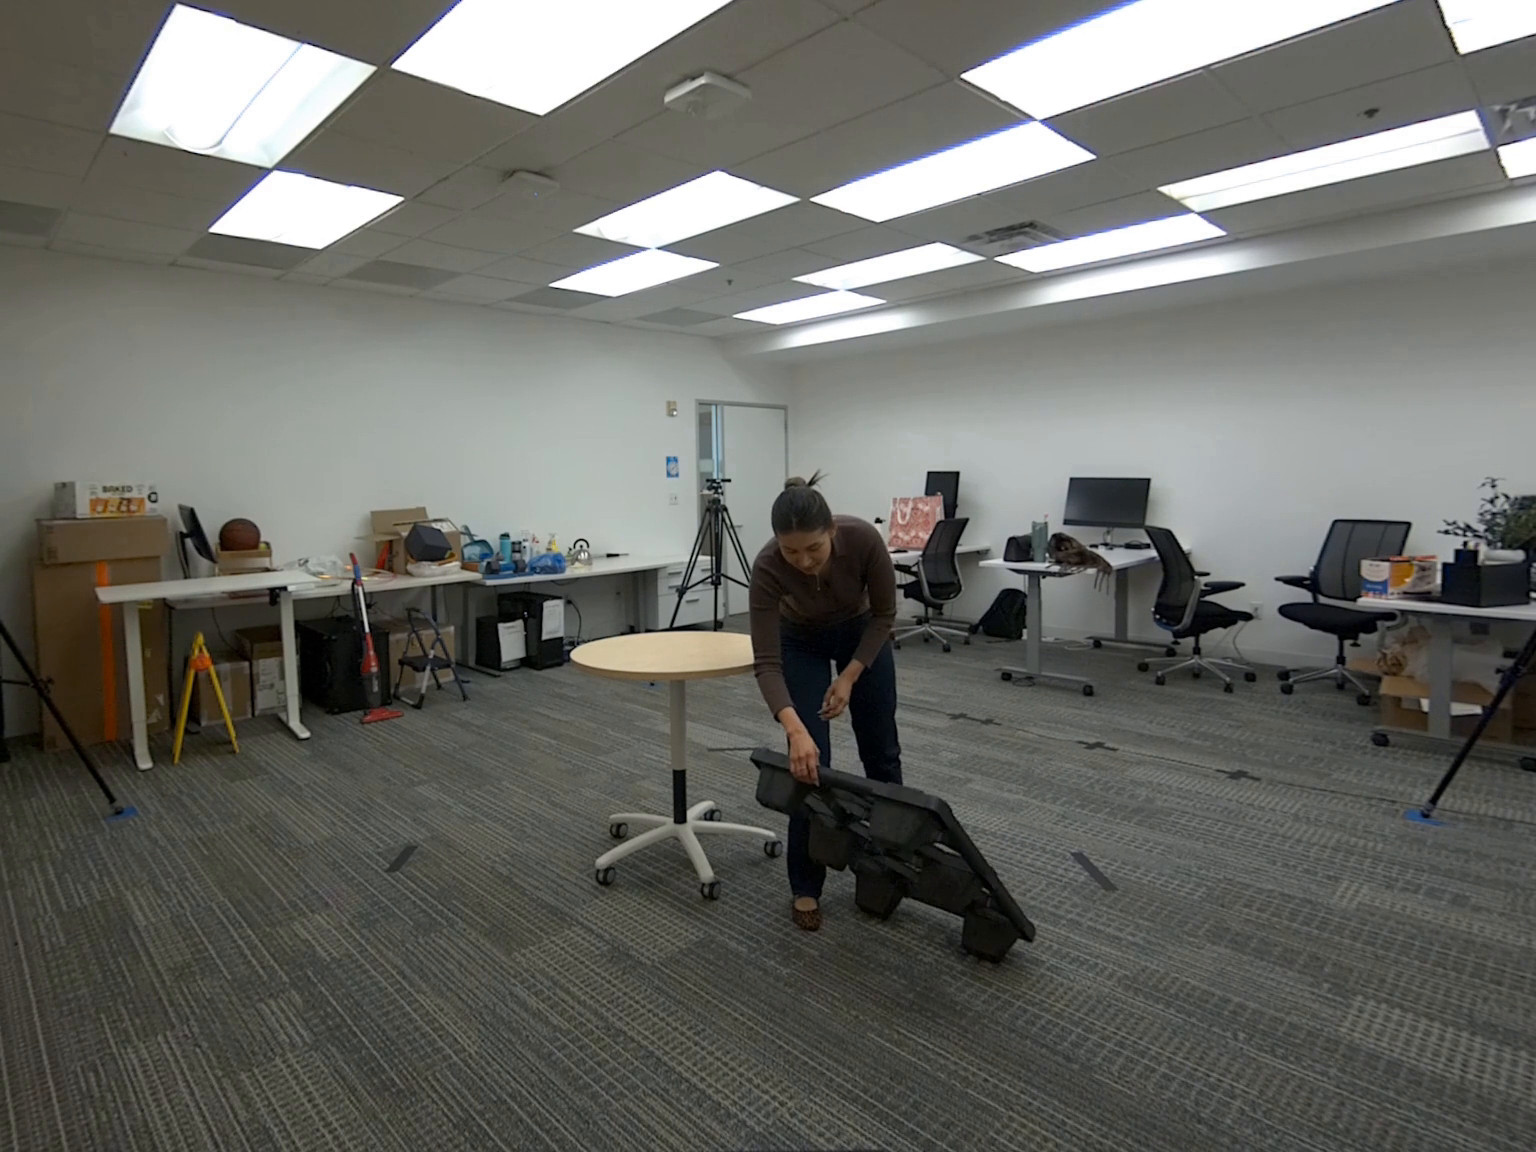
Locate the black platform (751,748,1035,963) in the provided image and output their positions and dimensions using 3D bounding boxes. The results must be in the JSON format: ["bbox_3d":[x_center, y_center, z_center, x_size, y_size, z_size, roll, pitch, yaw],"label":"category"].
[{"bbox_3d":[0.346,0.809,2.420,0.624,0.144,0.776,5,-39,42],"label":"black platform"}]
